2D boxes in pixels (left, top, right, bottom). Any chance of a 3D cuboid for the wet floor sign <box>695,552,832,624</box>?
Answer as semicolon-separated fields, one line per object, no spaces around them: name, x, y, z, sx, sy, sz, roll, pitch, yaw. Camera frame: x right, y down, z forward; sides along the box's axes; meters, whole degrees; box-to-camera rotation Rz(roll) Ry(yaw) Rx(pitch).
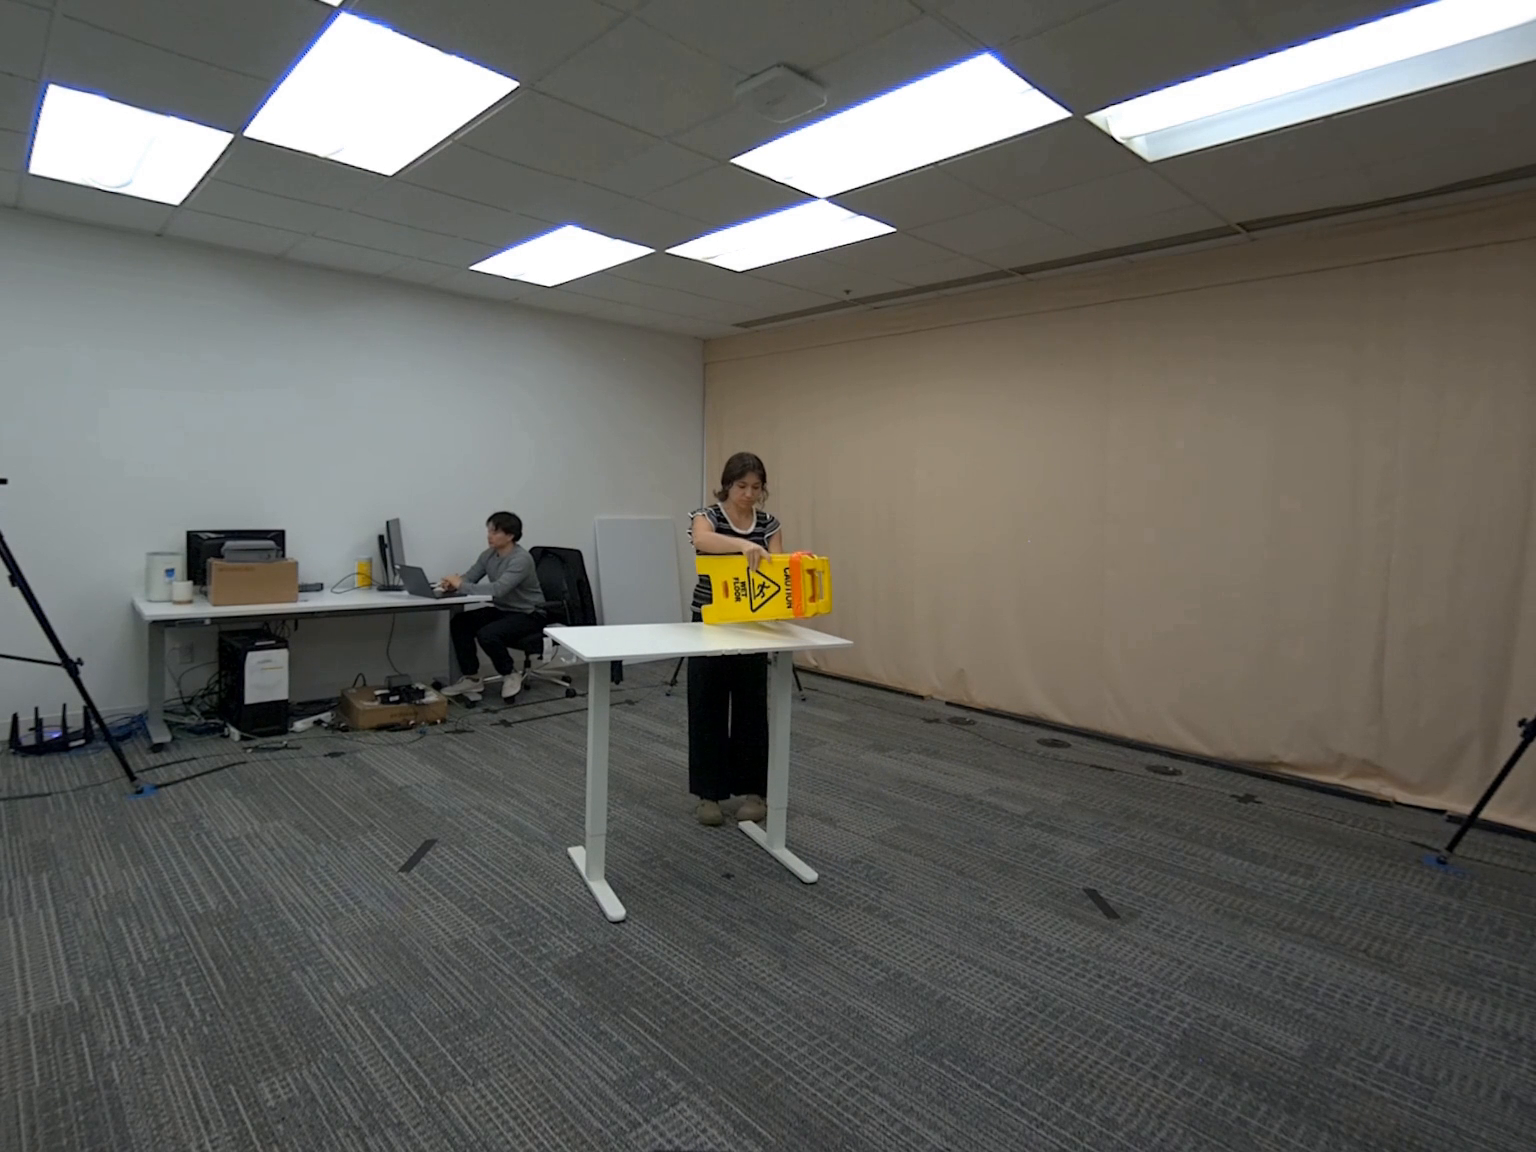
wet floor sign;0.013;0.041;3.219;0.283;0.282;0.660;-3;0;-38
